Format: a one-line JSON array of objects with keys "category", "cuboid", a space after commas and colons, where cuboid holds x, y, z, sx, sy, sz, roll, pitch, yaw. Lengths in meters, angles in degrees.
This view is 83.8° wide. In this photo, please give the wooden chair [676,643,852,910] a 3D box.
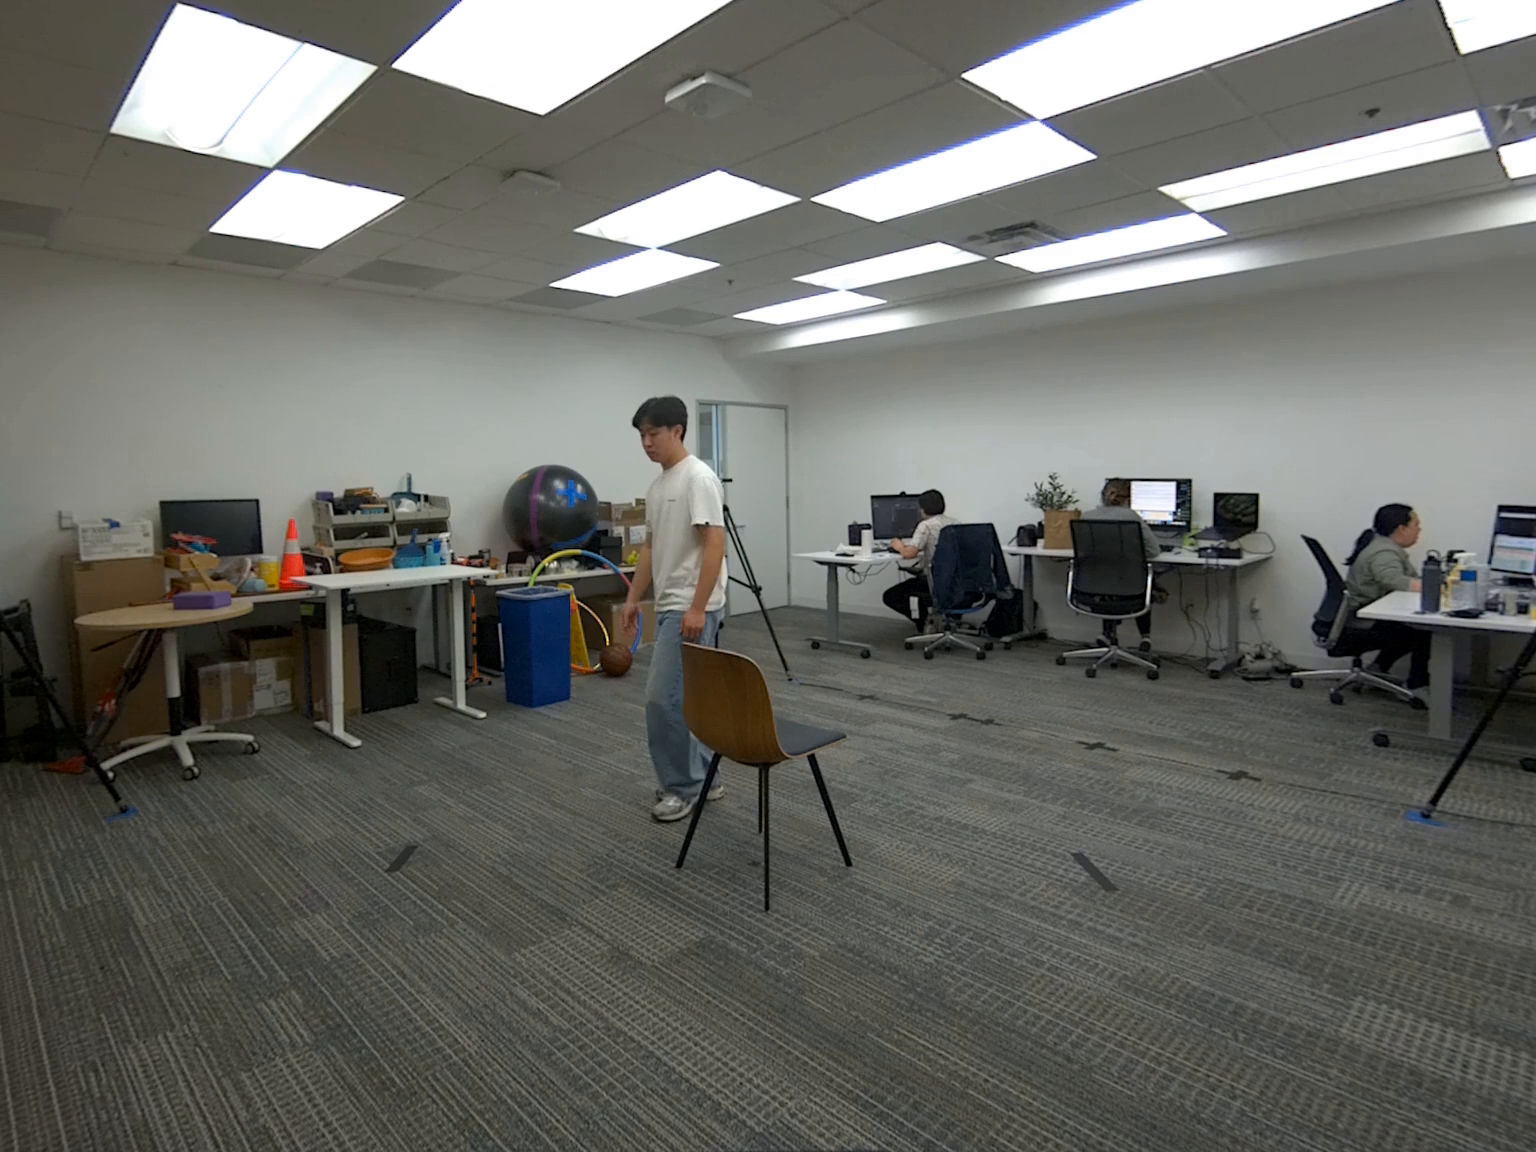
[{"category": "wooden chair", "cuboid": [-0.011, 0.624, 3.049, 0.493, 0.871, 0.511, 3, 10, 44]}]
